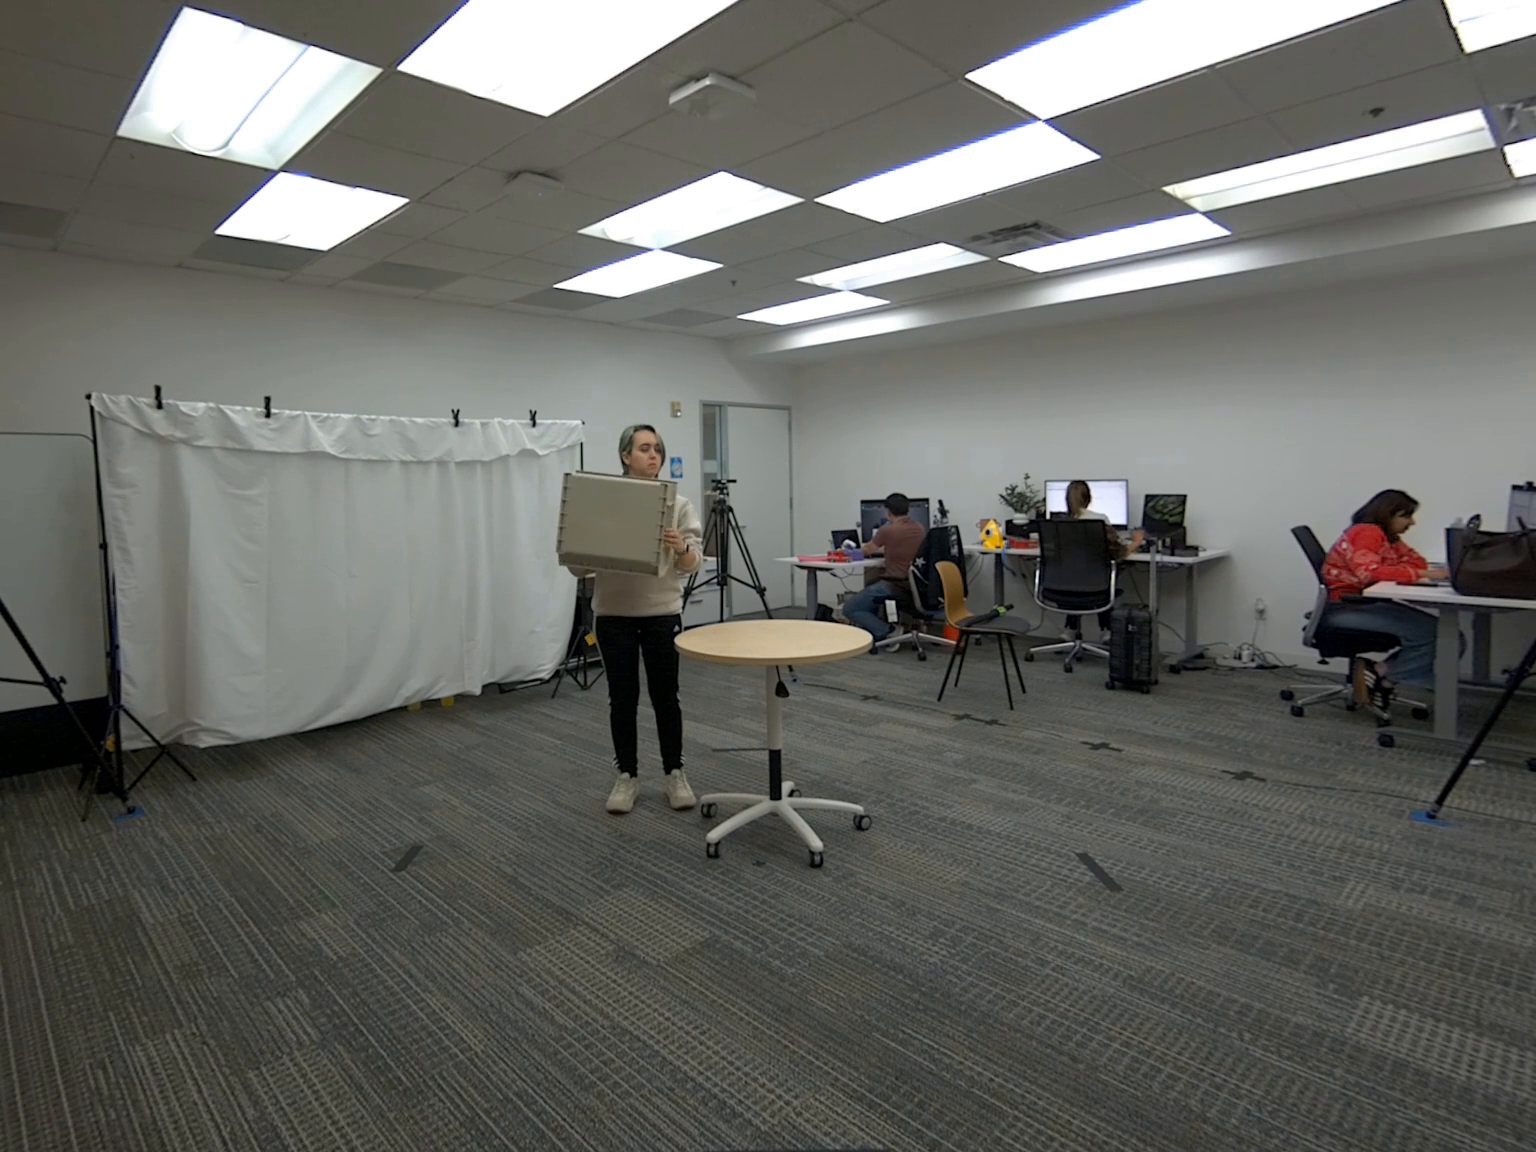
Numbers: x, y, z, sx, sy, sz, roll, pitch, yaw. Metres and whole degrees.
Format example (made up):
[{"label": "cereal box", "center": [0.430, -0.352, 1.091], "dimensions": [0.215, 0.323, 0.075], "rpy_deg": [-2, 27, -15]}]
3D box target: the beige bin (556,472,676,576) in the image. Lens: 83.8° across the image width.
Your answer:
[{"label": "beige bin", "center": [-0.598, -0.215, 3.366], "dimensions": [0.426, 0.376, 0.188], "rpy_deg": [6, 4, 8]}]
